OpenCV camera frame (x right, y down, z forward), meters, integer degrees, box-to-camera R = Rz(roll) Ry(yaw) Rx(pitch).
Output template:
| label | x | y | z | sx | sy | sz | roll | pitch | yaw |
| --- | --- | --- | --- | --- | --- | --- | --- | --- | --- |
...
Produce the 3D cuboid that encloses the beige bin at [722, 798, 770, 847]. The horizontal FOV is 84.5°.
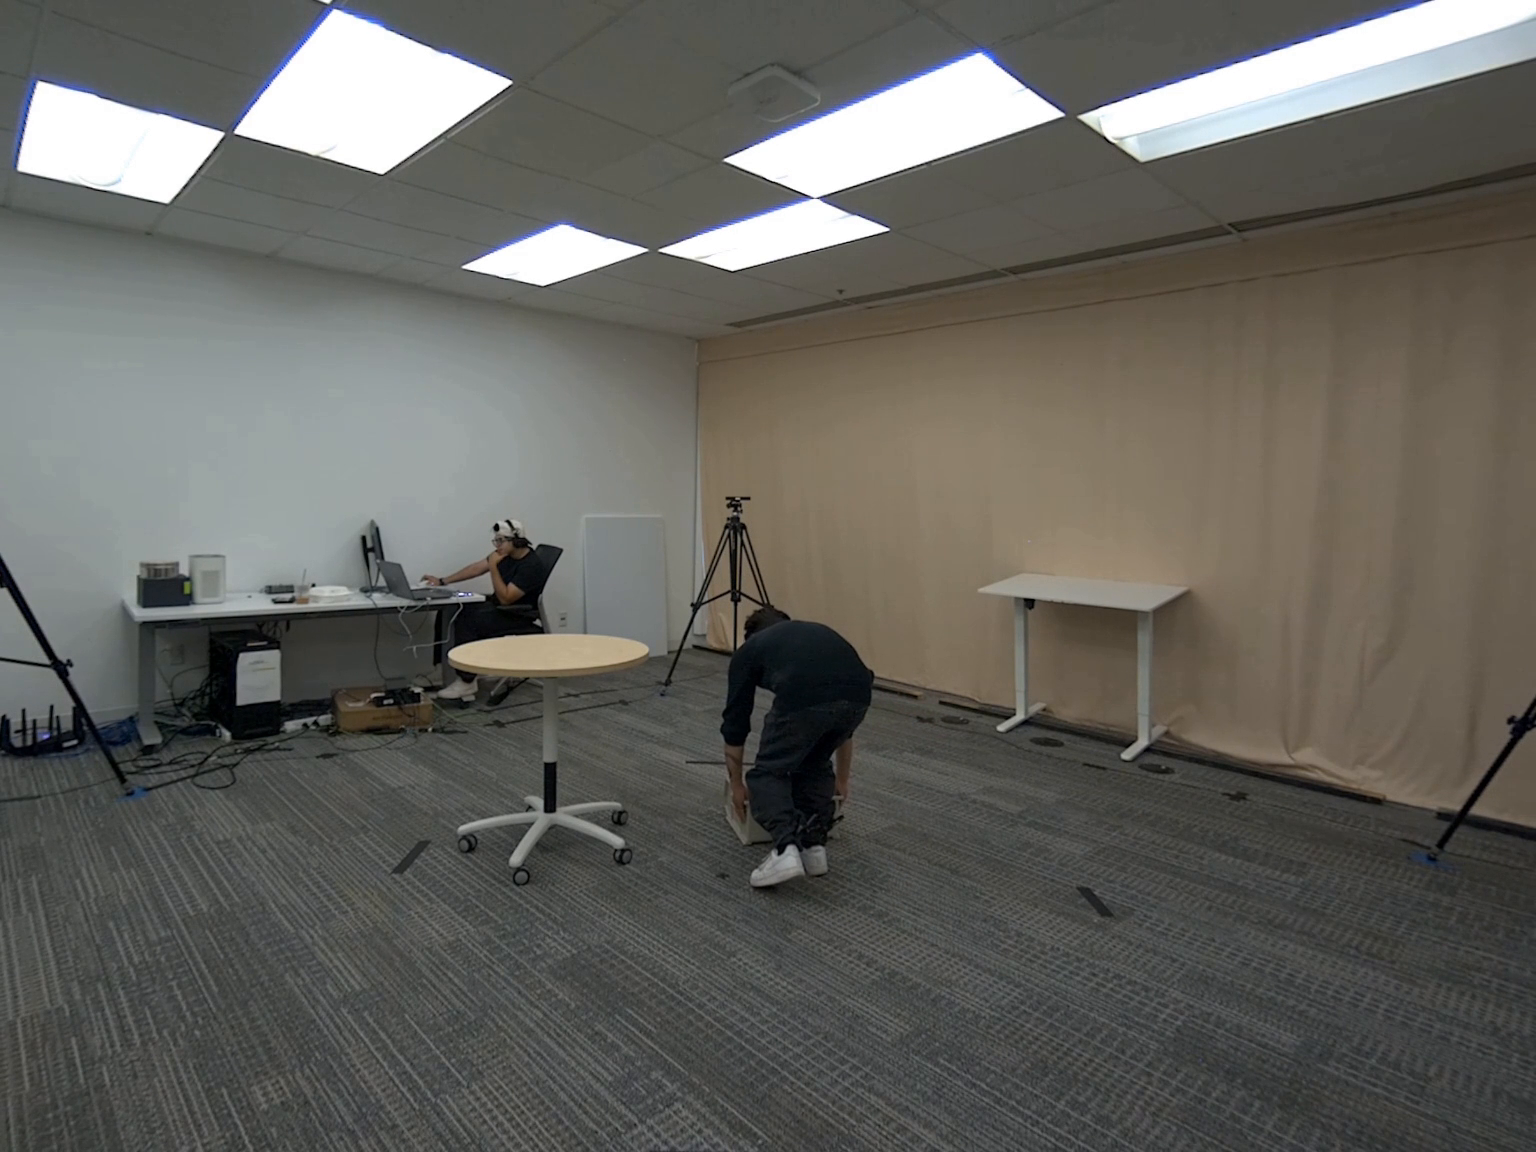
| label | x | y | z | sx | sy | sz | roll | pitch | yaw |
| --- | --- | --- | --- | --- | --- | --- | --- | --- | --- |
| beige bin | 0.050 | 0.981 | 3.592 | 0.417 | 0.188 | 0.382 | 2 | 4 | -15 |
